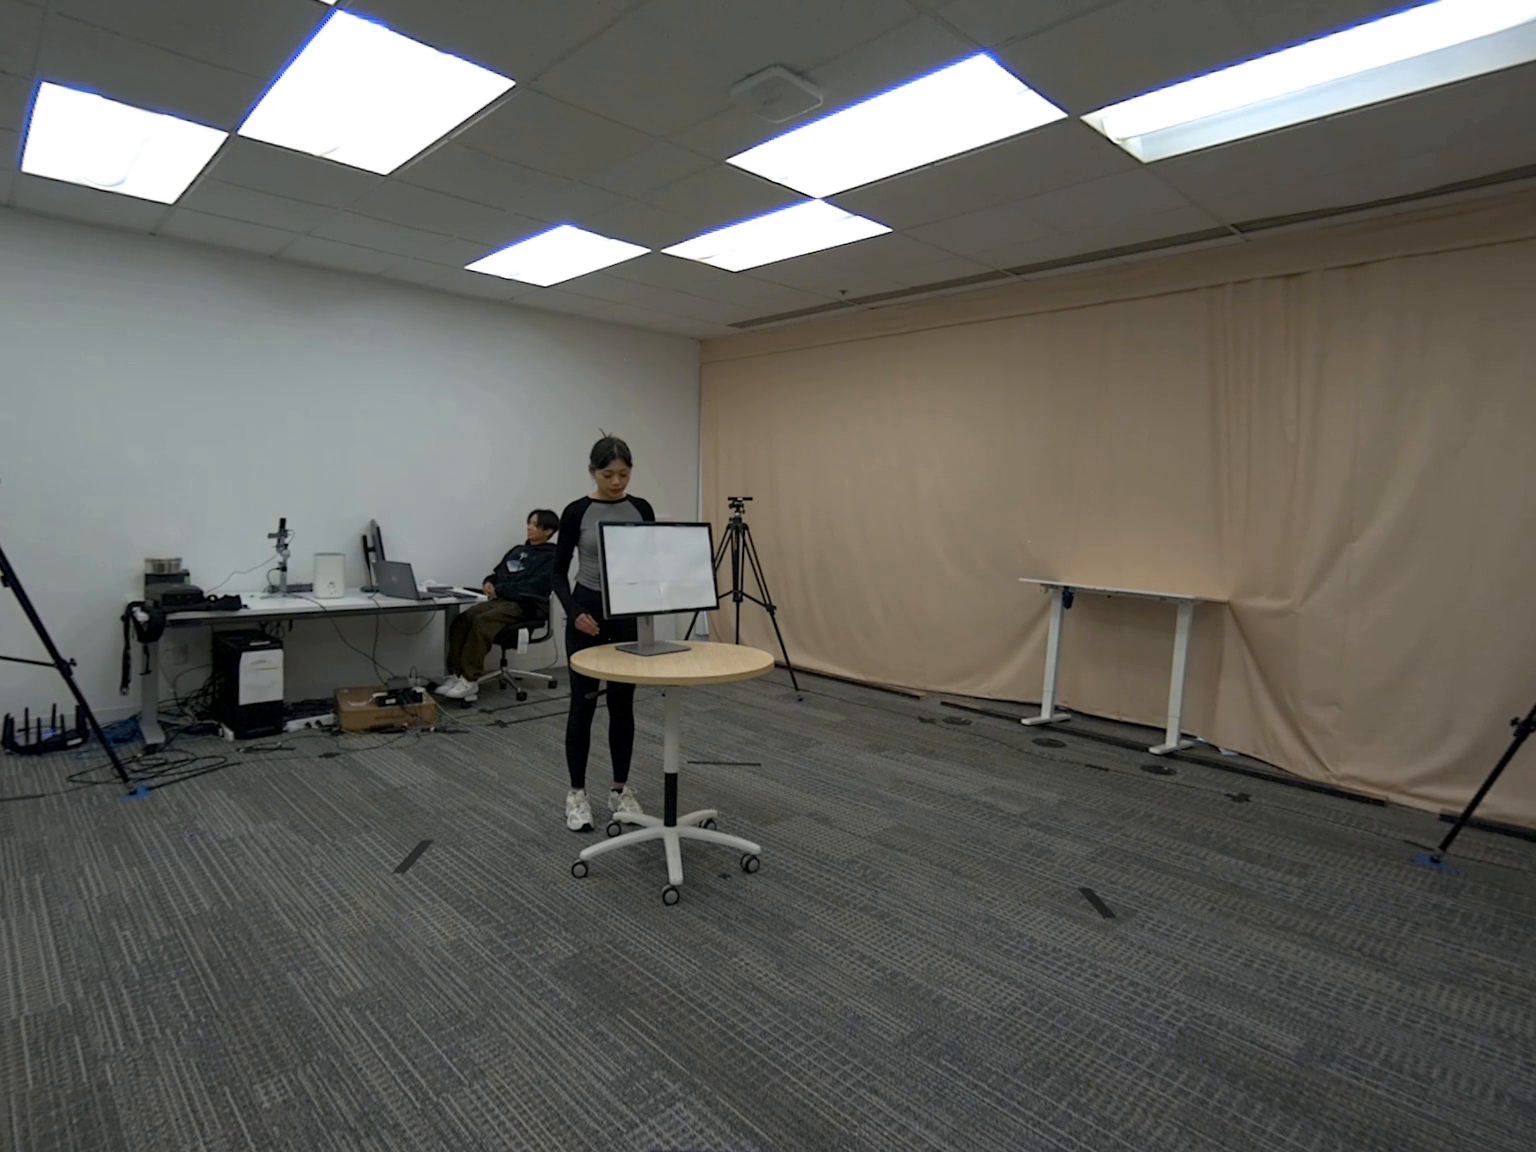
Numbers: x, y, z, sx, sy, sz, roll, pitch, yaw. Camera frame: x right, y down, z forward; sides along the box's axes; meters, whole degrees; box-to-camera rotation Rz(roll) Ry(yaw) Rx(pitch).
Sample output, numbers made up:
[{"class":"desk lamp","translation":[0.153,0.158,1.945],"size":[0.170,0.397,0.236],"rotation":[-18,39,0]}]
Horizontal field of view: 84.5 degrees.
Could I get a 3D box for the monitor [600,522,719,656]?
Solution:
[{"class":"monitor","translation":[-0.458,0.048,3.322],"size":[0.192,0.521,0.527],"rotation":[8,7,43]}]
